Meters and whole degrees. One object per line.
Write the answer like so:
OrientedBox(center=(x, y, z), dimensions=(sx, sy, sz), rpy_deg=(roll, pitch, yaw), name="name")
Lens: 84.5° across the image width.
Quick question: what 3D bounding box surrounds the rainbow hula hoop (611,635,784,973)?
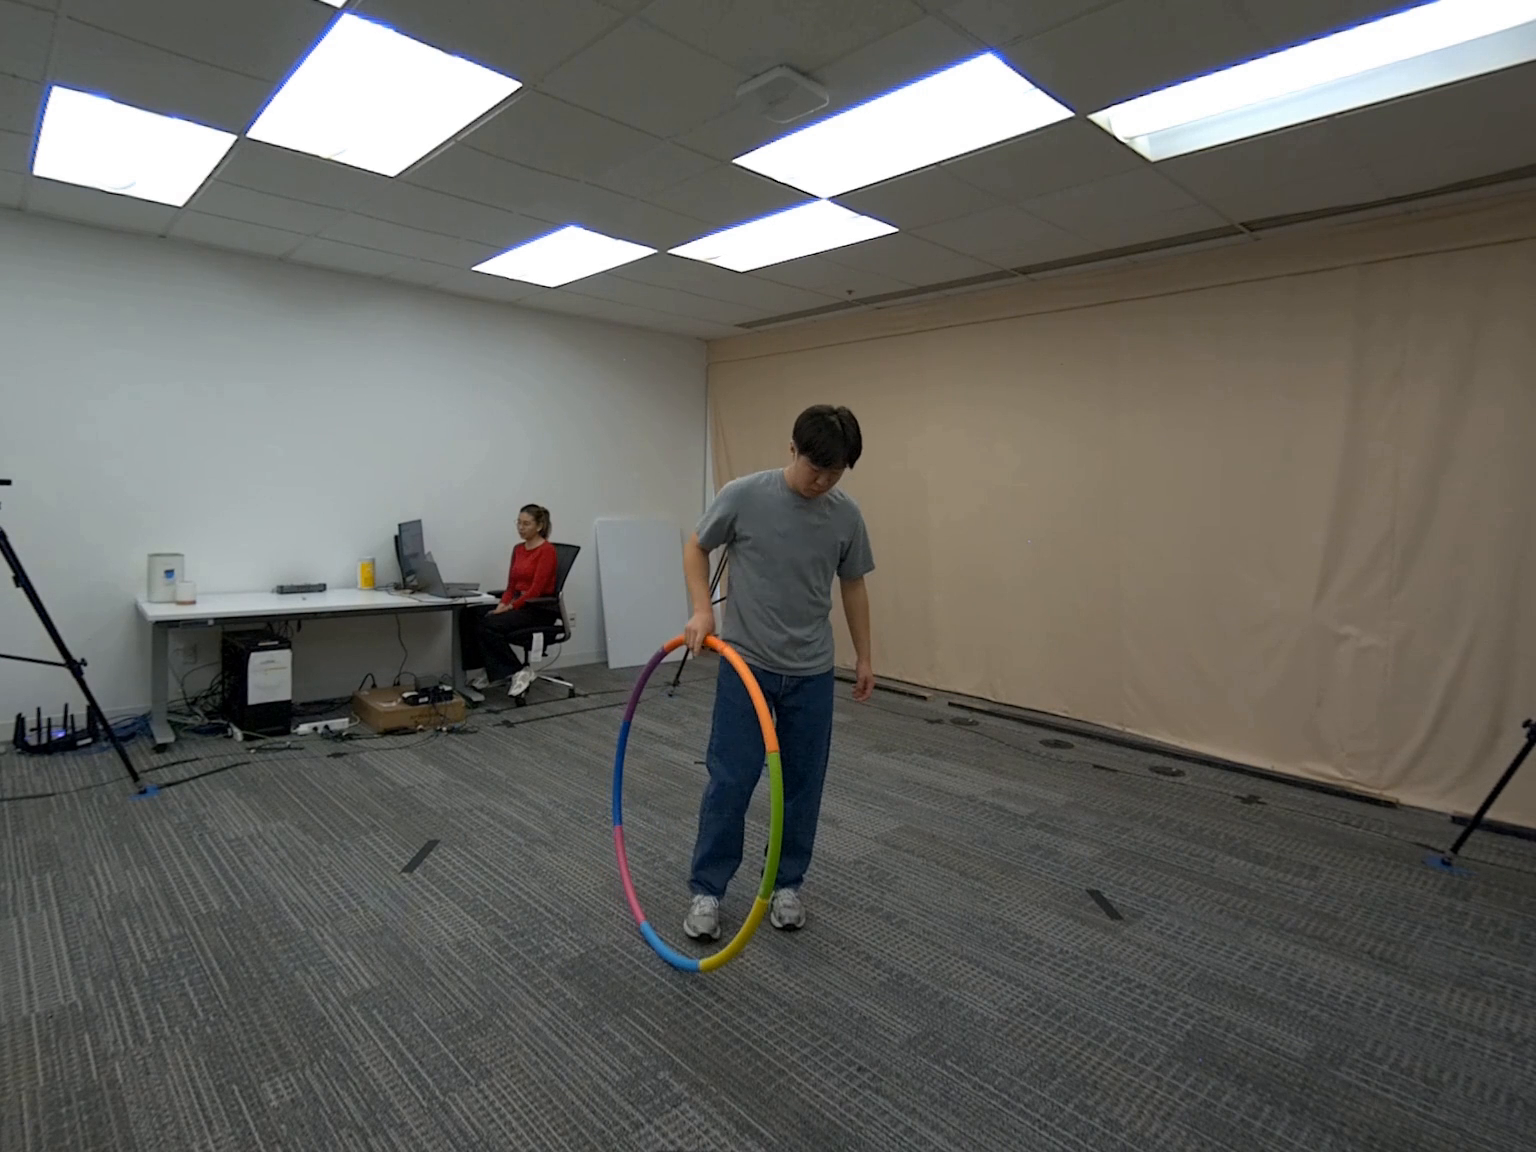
OrientedBox(center=(-0.275, 0.667, 2.579), dimensions=(0.035, 0.979, 1.002), rpy_deg=(8, 0, -34), name="rainbow hula hoop")
